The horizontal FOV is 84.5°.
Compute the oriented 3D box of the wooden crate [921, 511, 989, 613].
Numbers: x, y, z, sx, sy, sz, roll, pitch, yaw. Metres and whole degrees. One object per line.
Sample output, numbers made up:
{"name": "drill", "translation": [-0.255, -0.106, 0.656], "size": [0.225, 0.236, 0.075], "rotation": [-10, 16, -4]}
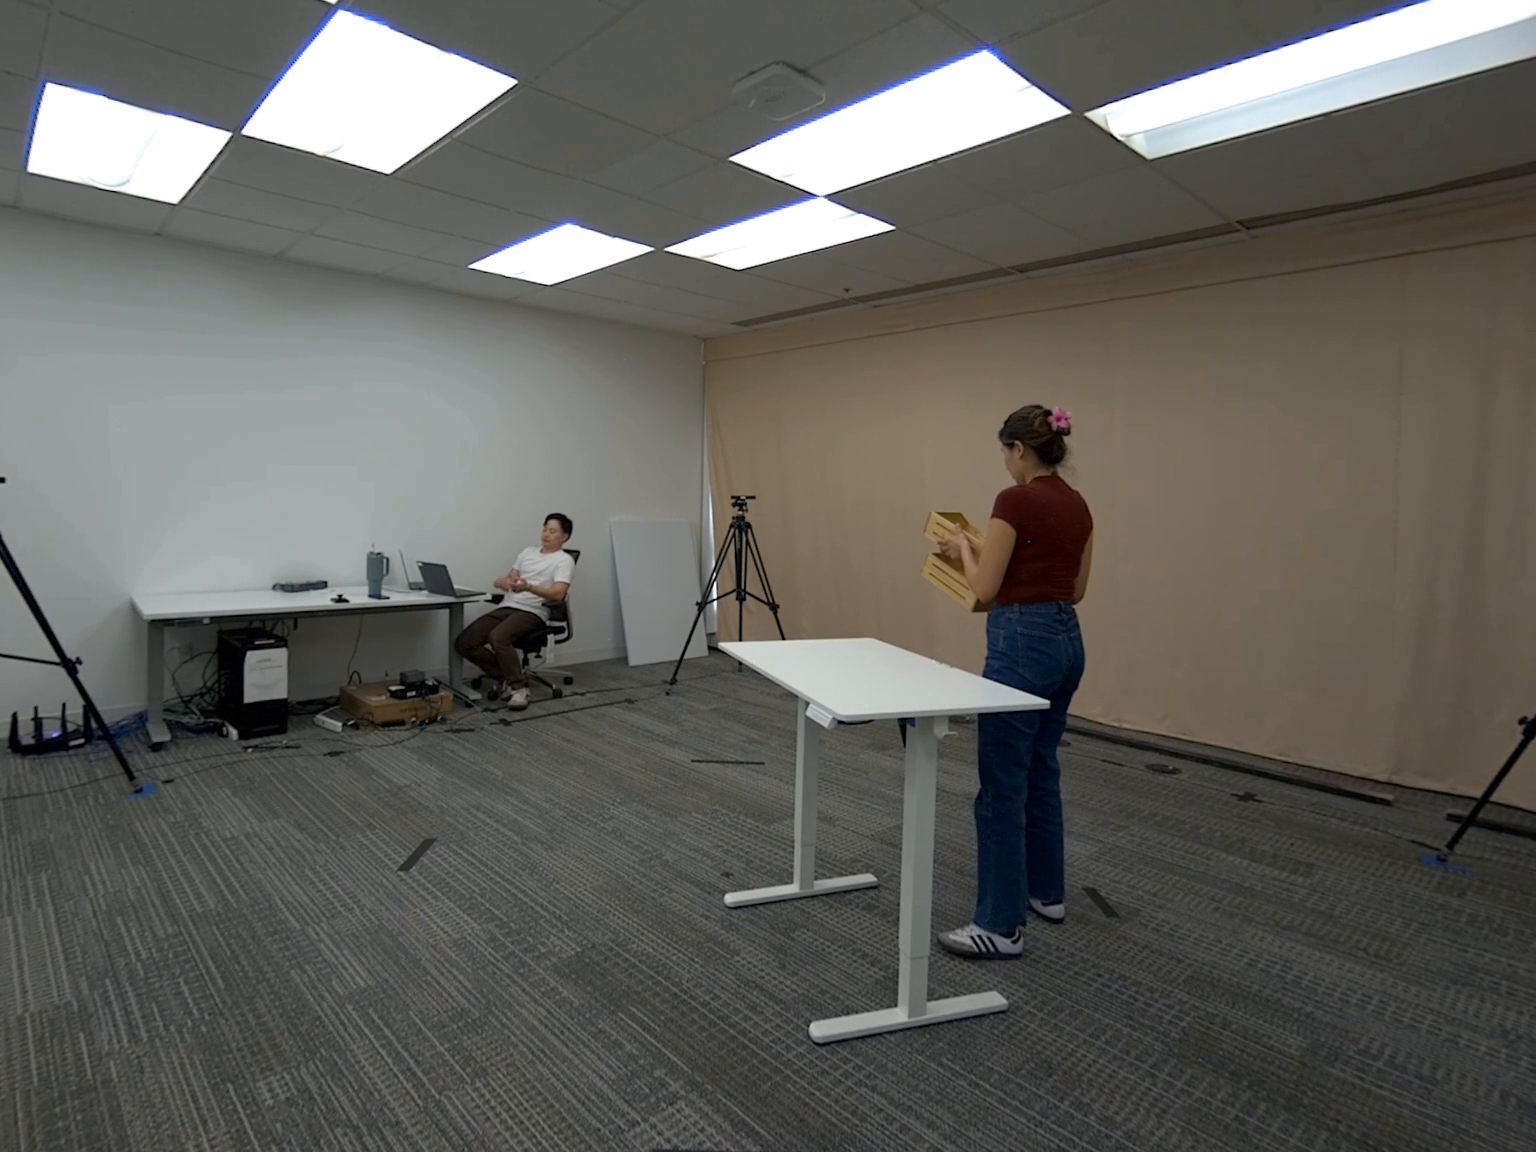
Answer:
{"name": "wooden crate", "translation": [0.761, -0.056, 3.074], "size": [0.296, 0.270, 0.335], "rotation": [0, 26, -31]}
